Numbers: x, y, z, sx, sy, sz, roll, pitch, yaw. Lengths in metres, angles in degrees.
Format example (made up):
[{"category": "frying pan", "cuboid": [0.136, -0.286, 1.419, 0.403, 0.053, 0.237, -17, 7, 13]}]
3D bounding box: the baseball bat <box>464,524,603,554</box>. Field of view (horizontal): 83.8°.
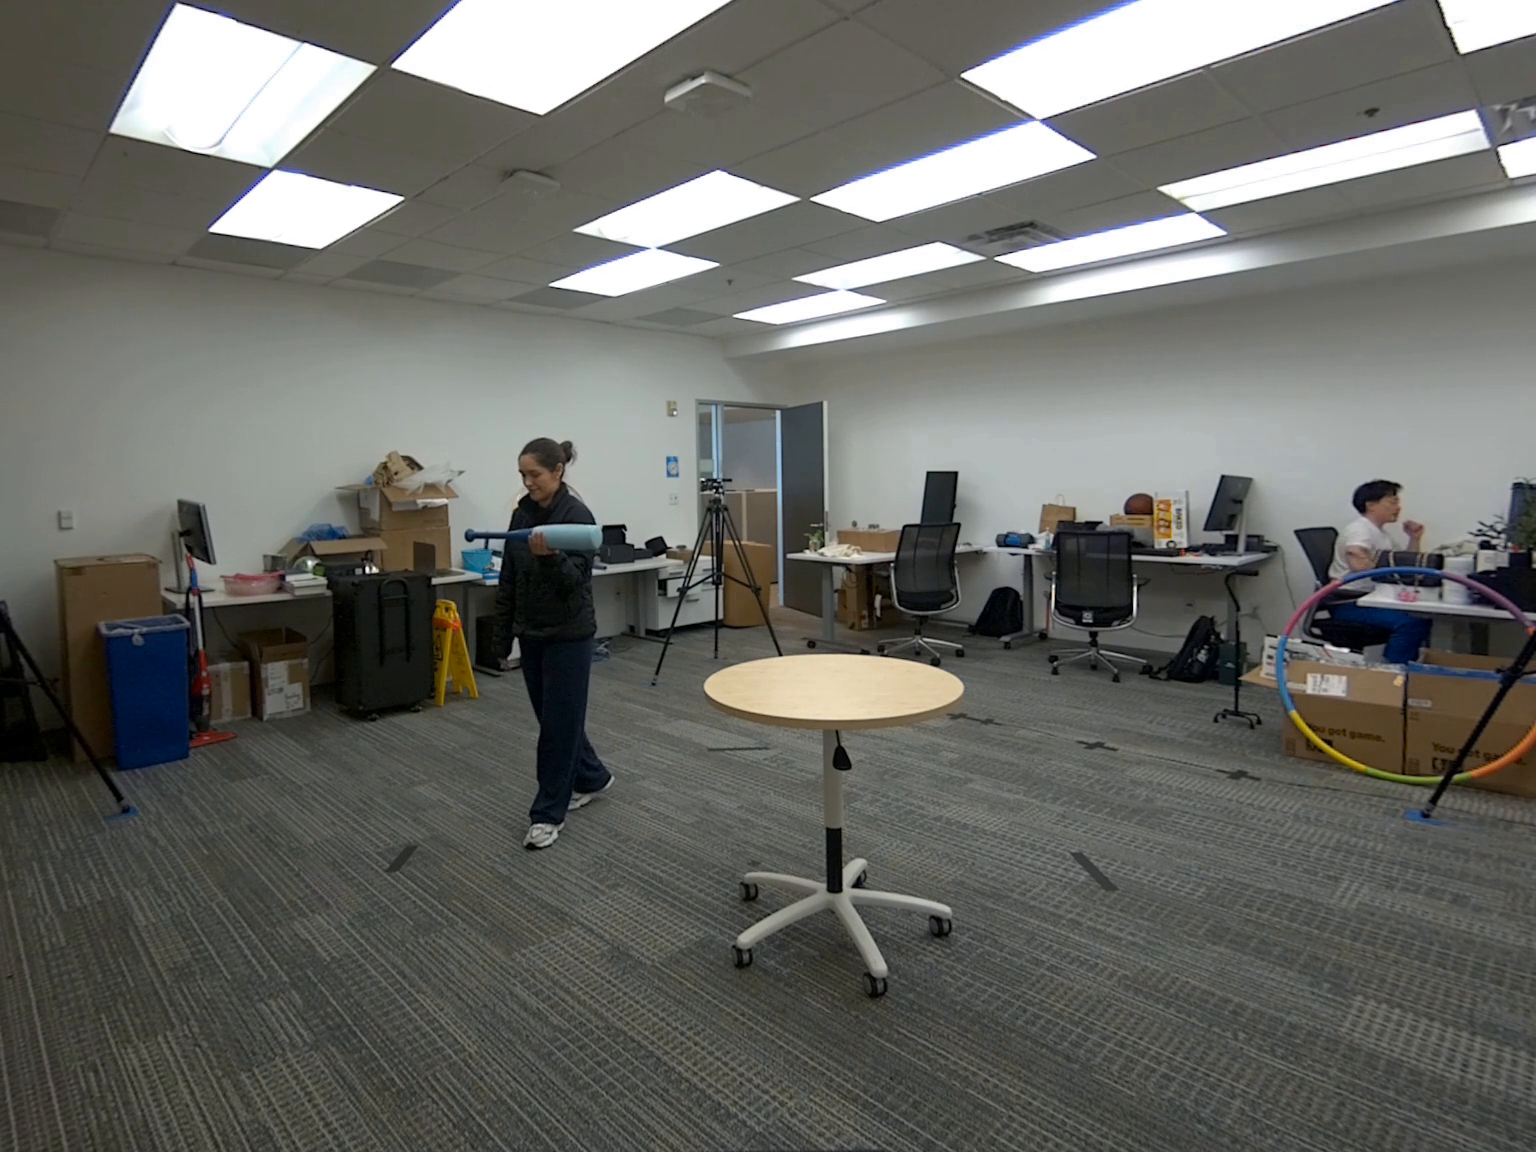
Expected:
[{"category": "baseball bat", "cuboid": [-0.854, -0.135, 3.092, 0.552, 0.089, 0.088, 0, 5, 18]}]
